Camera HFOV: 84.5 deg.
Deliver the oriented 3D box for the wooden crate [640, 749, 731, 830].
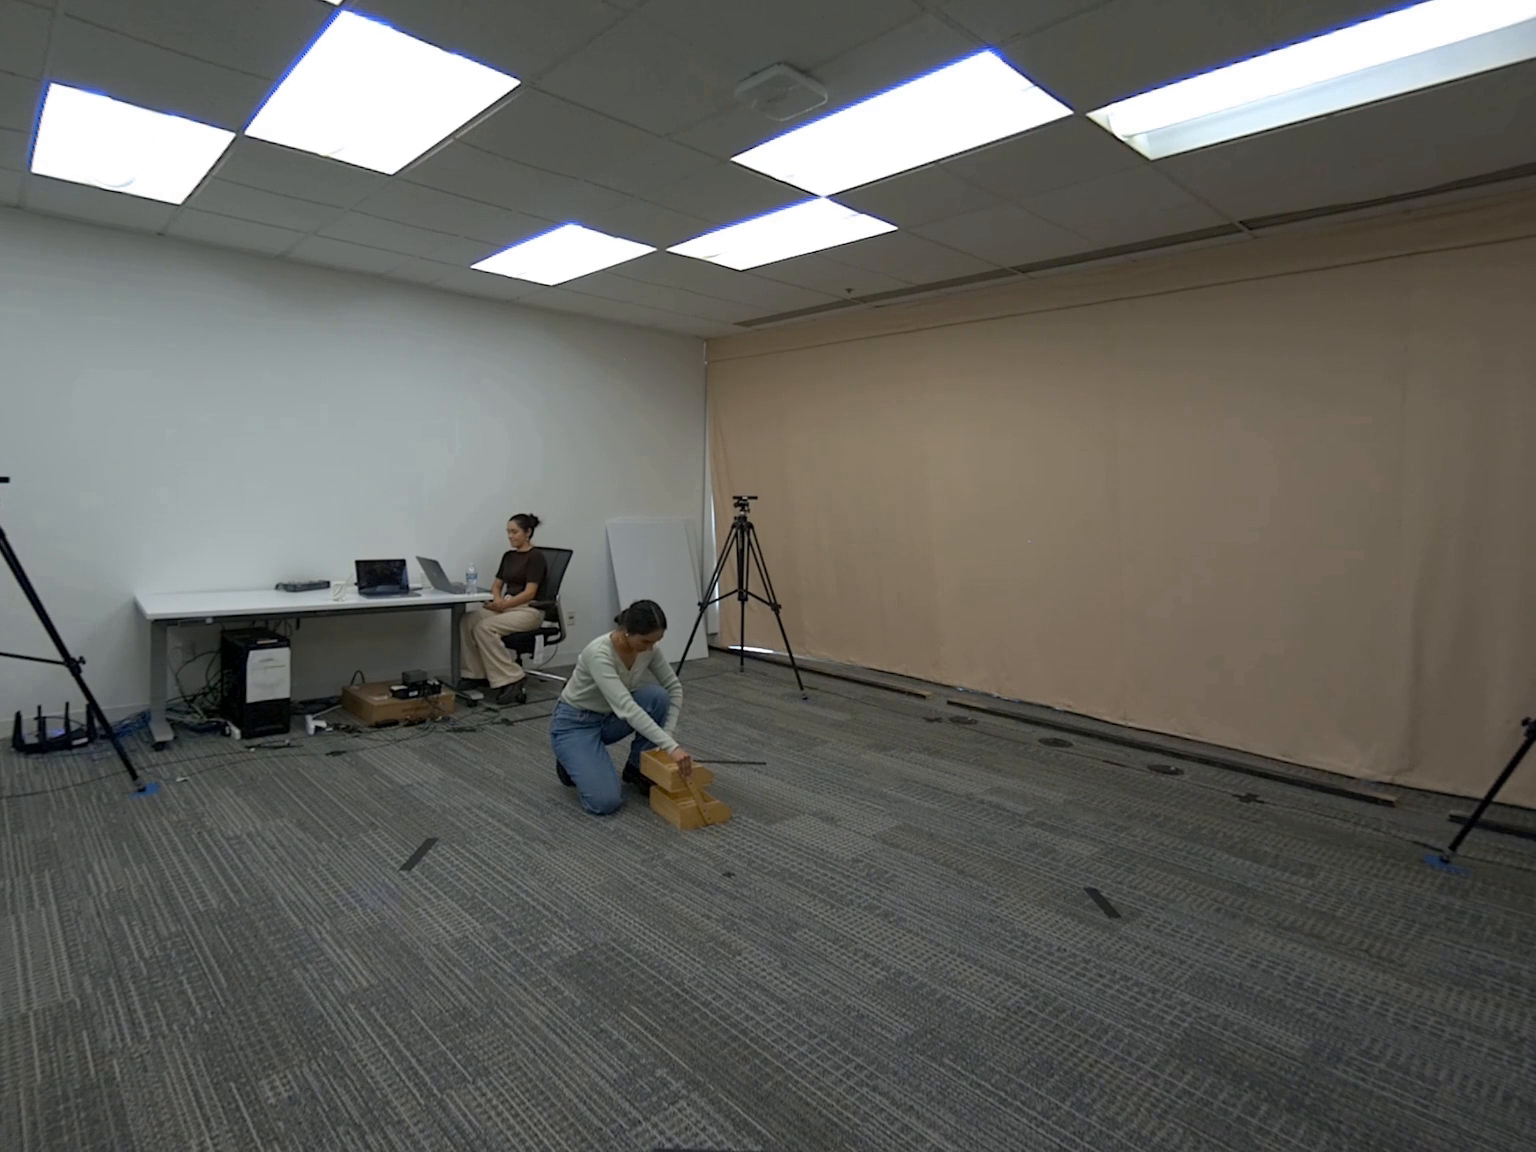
[{"bbox_3d":[-0.364,0.914,3.686,0.296,0.272,0.332,-2,6,-32],"label":"wooden crate"}]
